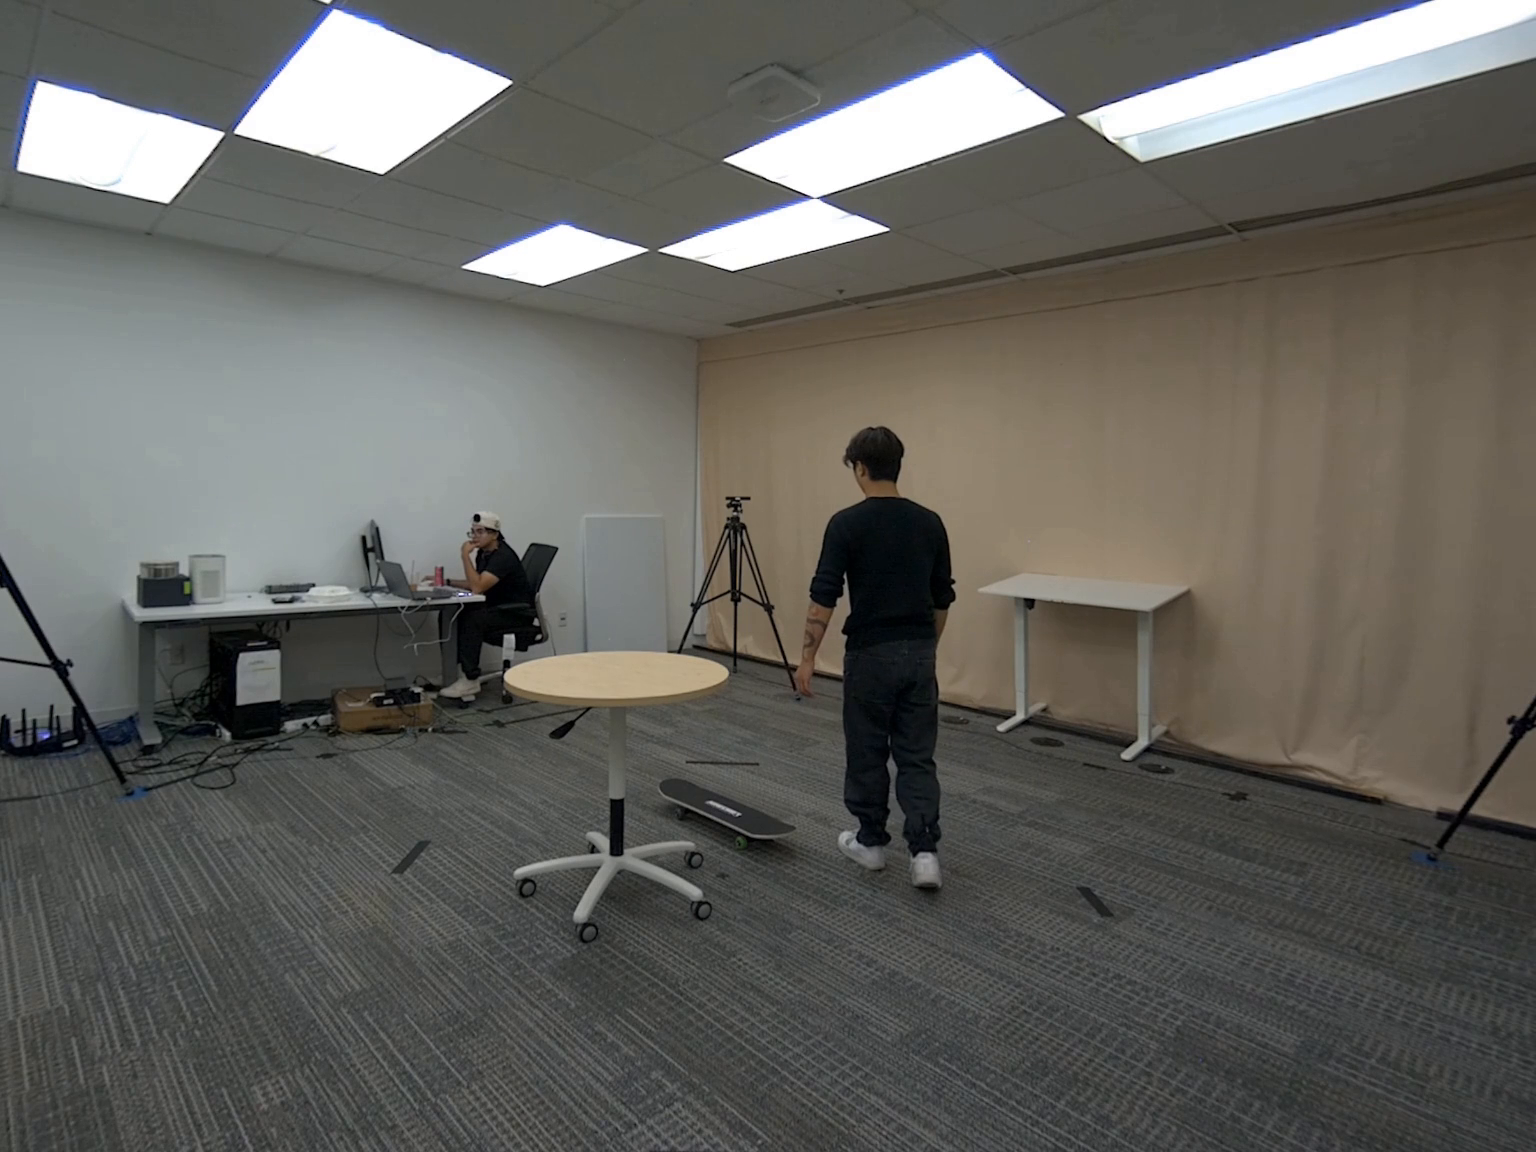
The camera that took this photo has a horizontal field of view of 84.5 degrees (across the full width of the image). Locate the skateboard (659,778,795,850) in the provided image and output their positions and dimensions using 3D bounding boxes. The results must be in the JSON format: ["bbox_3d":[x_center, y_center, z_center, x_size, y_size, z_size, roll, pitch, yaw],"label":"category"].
[{"bbox_3d":[-0.199,1.014,3.550,0.189,0.110,0.806,-2,6,-42],"label":"skateboard"}]
